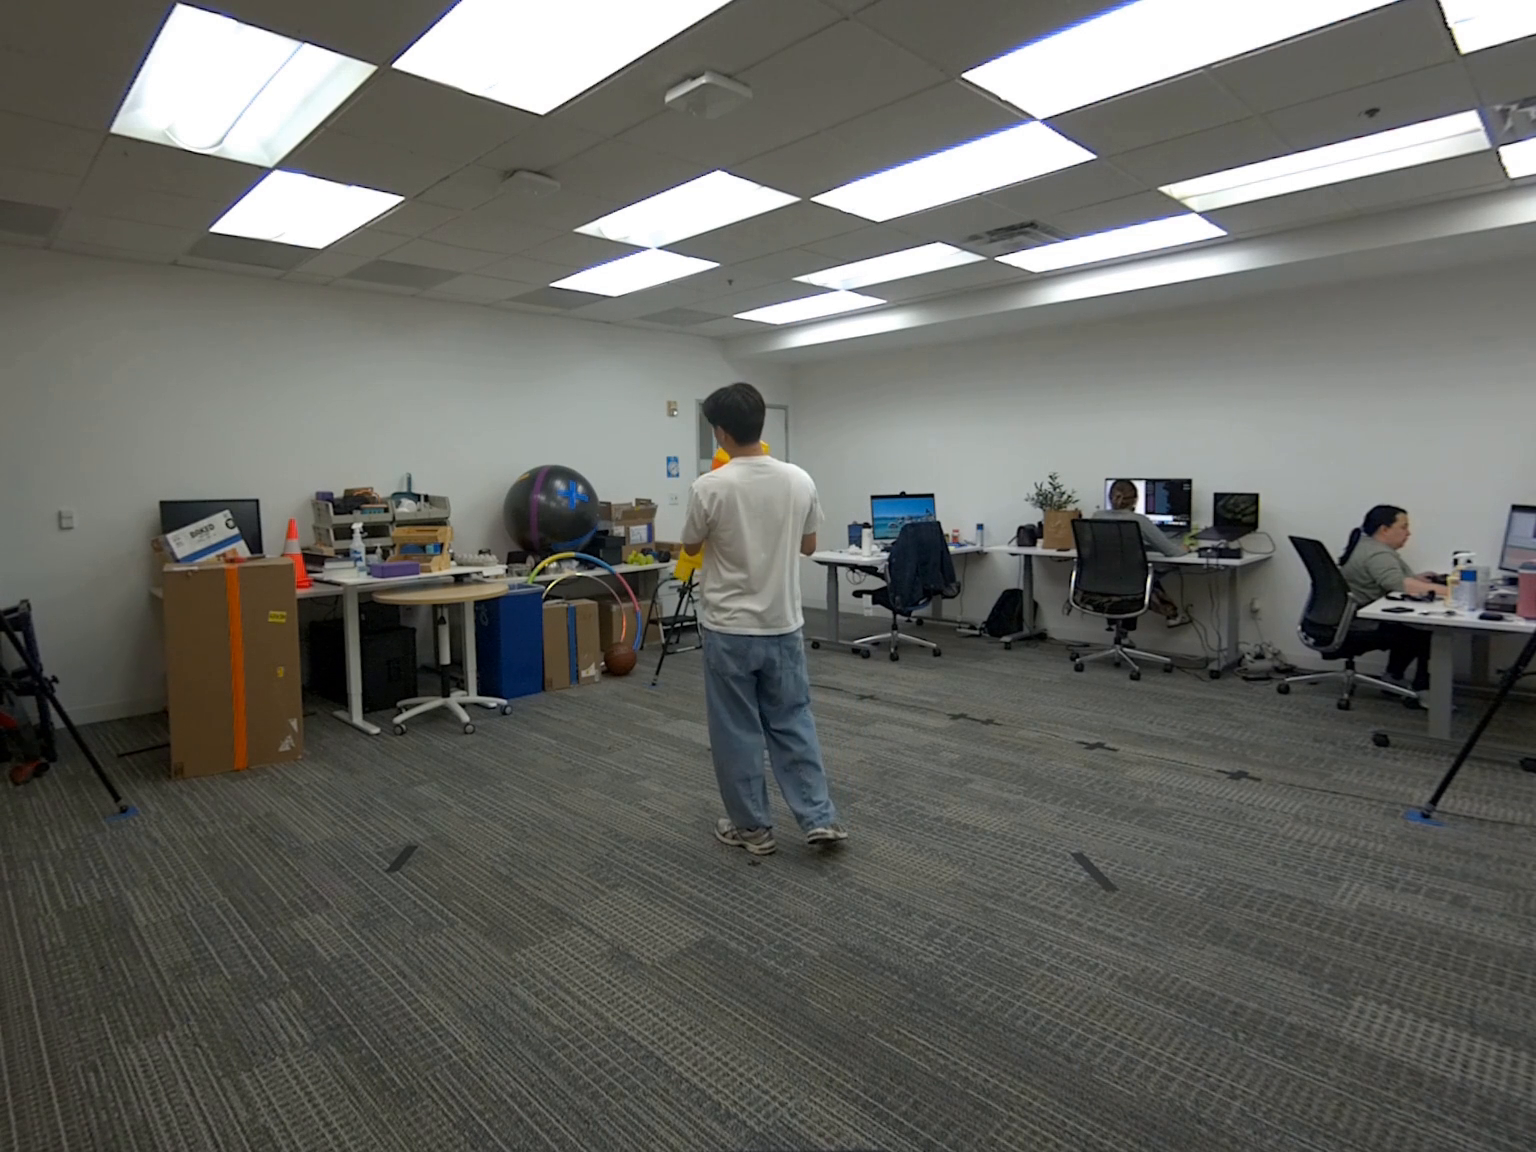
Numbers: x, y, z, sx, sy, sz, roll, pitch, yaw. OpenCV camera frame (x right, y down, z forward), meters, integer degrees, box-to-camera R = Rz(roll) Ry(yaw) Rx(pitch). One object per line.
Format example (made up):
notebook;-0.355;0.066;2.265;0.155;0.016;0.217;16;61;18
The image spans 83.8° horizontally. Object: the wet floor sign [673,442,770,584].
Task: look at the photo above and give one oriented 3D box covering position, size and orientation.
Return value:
wet floor sign;-0.147;-0.263;3.501;0.291;0.638;0.285;26;23;24
